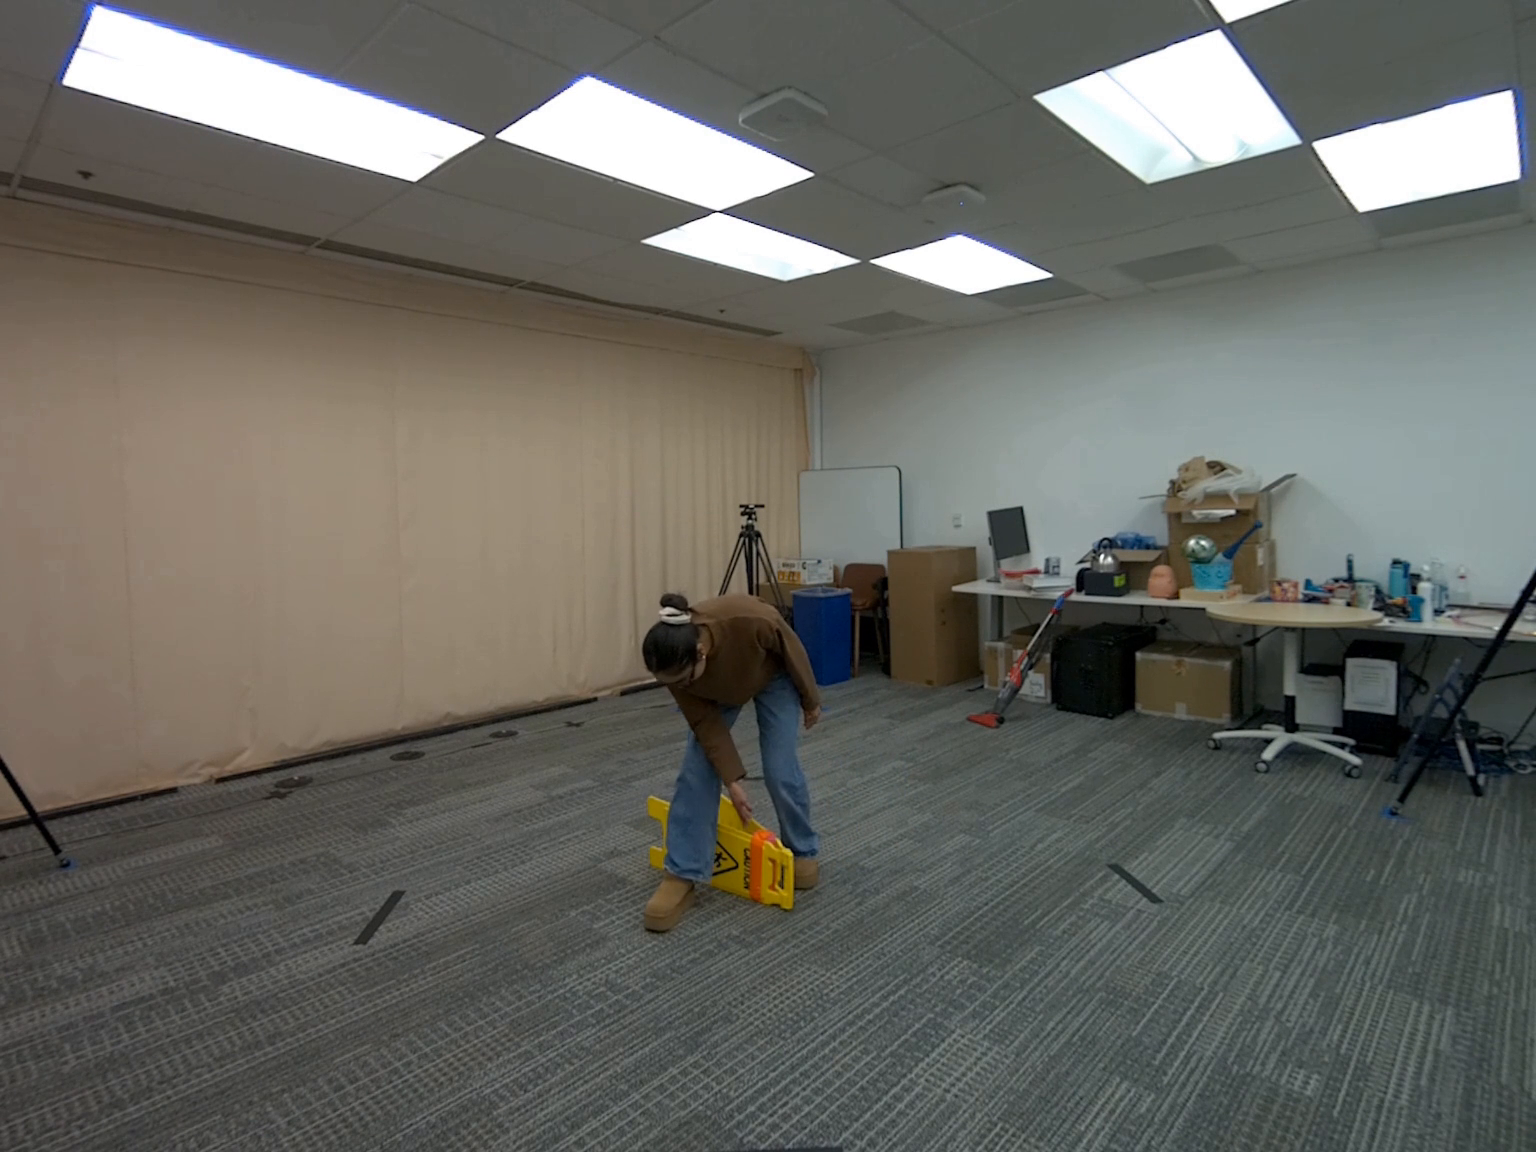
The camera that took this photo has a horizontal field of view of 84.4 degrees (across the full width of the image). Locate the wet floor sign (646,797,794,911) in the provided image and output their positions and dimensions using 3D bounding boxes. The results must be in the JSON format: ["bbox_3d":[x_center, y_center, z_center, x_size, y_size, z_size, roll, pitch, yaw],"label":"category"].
[{"bbox_3d":[-0.139,1.006,3.106,0.281,0.281,0.668,-5,9,-42],"label":"wet floor sign"}]
